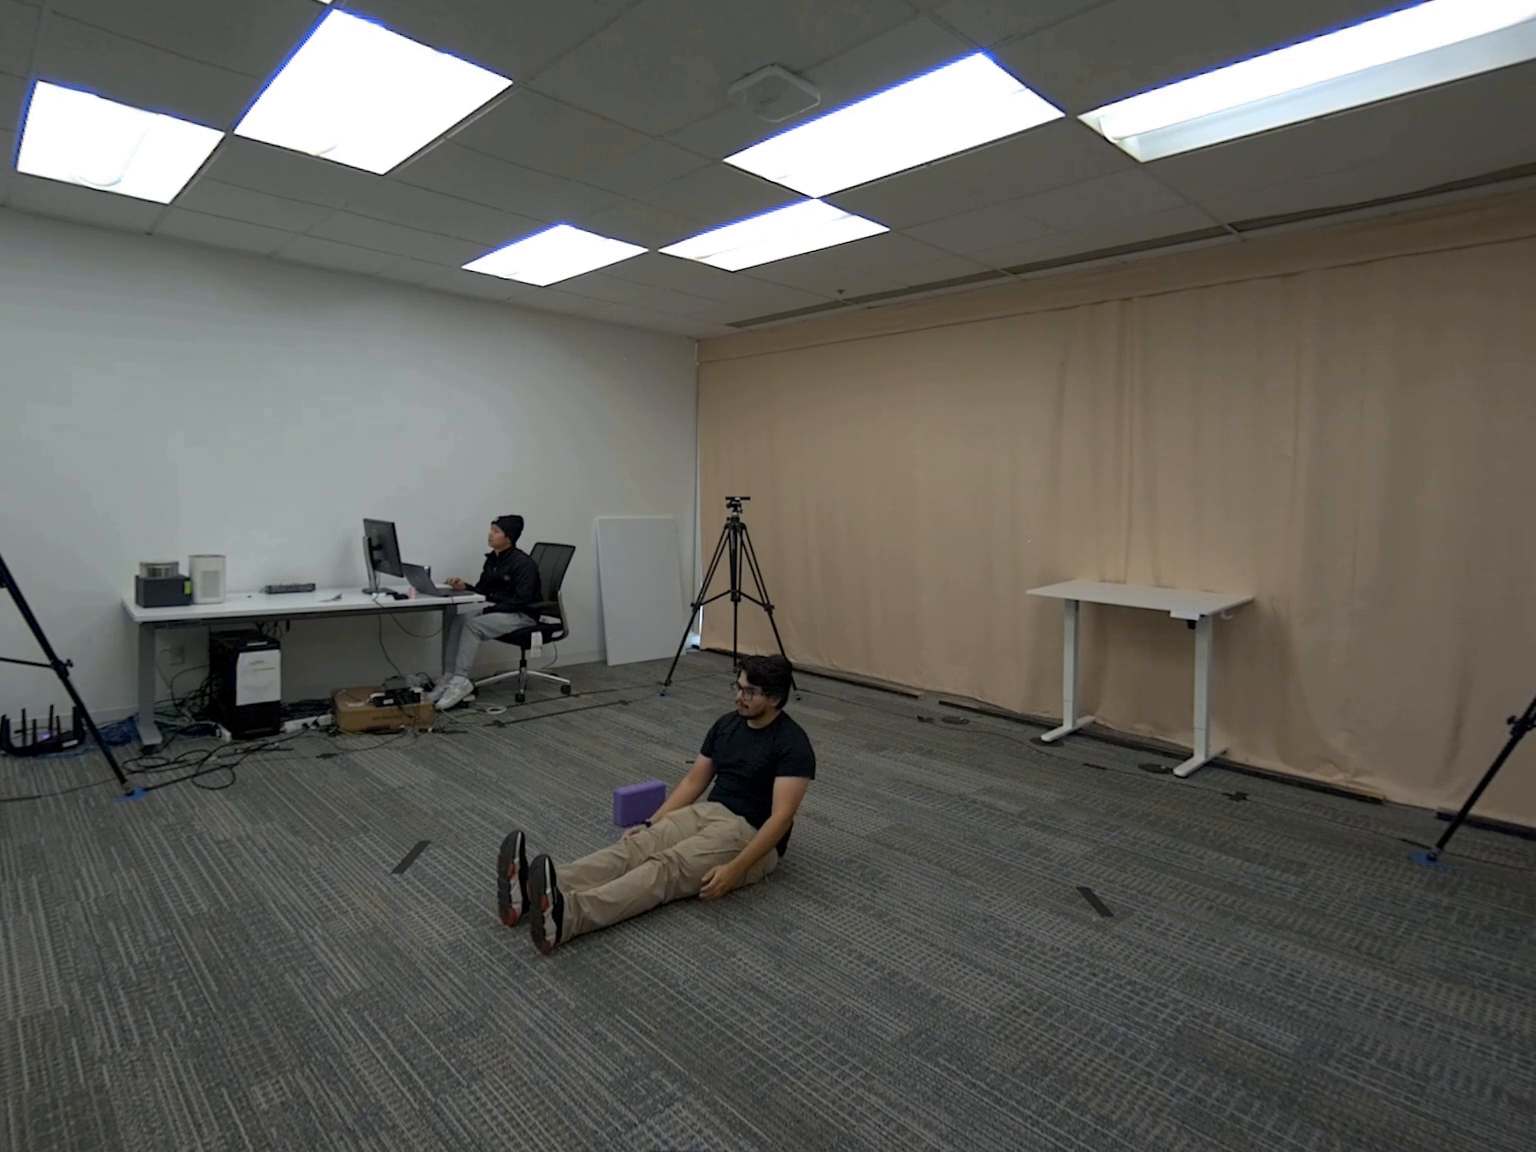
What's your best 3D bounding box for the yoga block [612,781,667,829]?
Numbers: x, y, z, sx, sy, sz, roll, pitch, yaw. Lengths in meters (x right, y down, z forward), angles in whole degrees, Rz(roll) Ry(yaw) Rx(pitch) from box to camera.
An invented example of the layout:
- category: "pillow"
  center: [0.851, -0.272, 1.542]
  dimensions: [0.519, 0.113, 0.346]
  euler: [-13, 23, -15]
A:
- category: "yoga block"
  center: [-0.561, 0.976, 3.624]
  dimensions: [0.224, 0.148, 0.078]
  euler: [-2, 5, -42]
